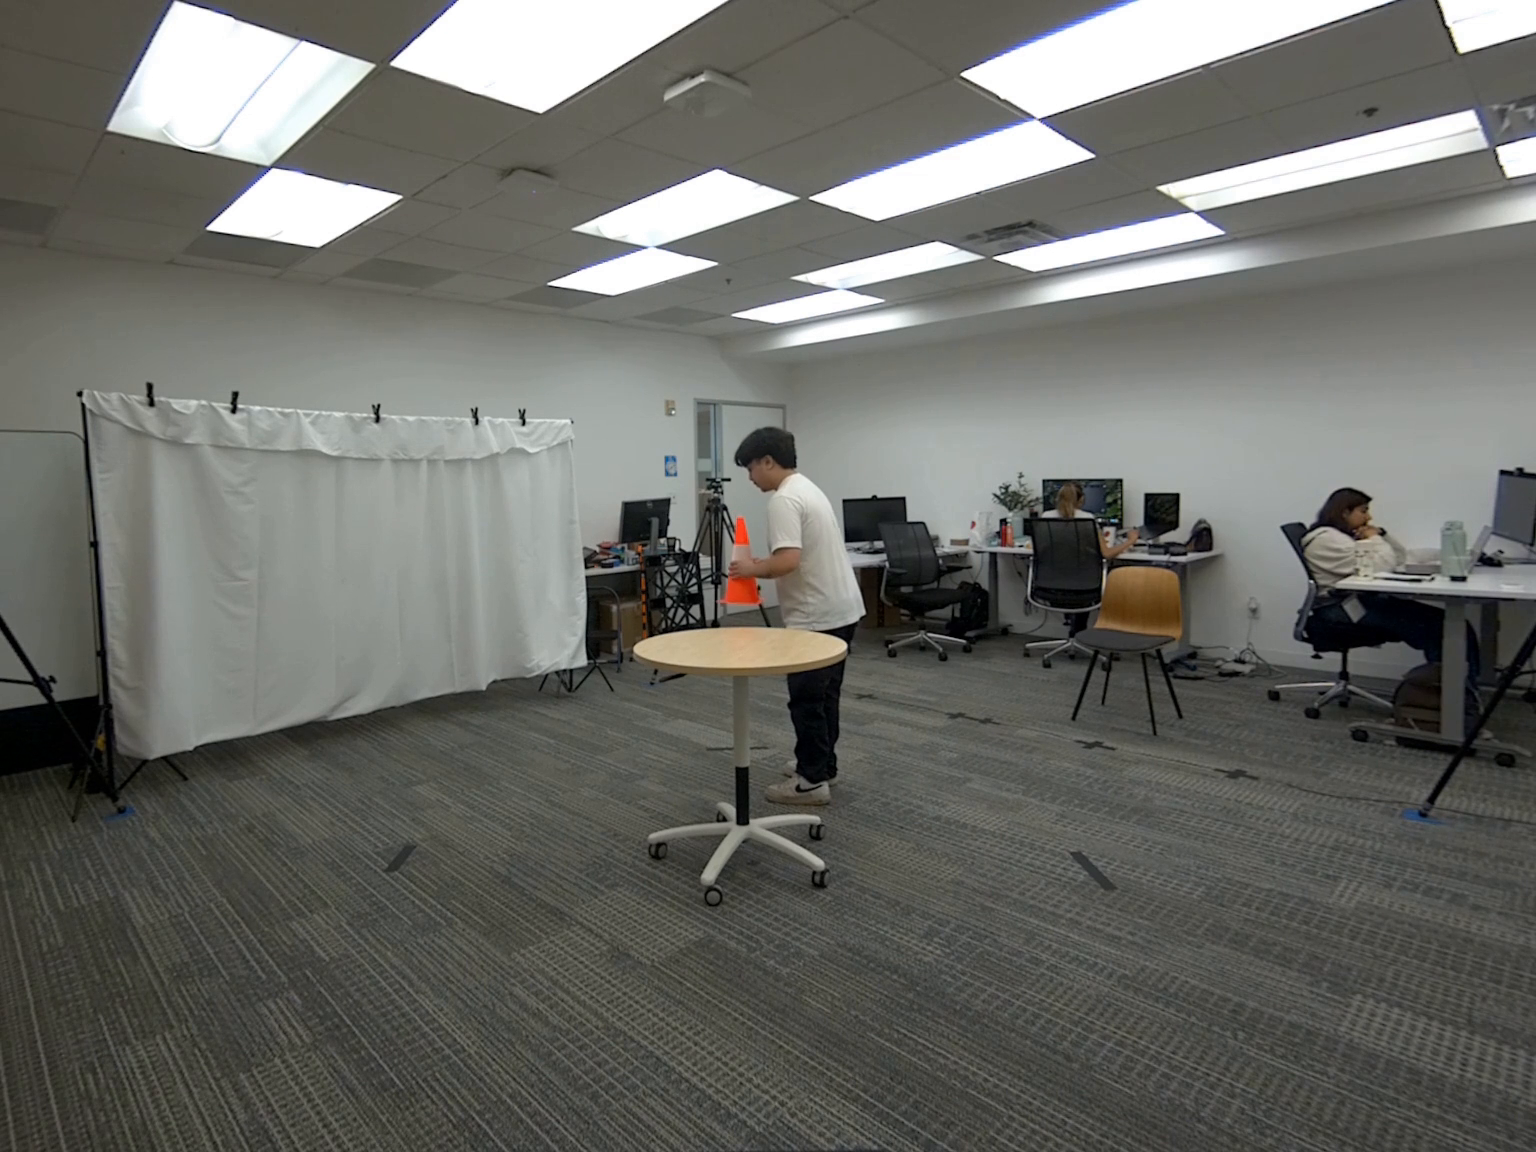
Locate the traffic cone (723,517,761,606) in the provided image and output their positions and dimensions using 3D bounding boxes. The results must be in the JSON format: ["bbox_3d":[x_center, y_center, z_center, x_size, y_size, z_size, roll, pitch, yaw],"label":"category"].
[{"bbox_3d":[-0.116,-0.075,3.897,0.209,0.381,0.201,1,7,19],"label":"traffic cone"}]
